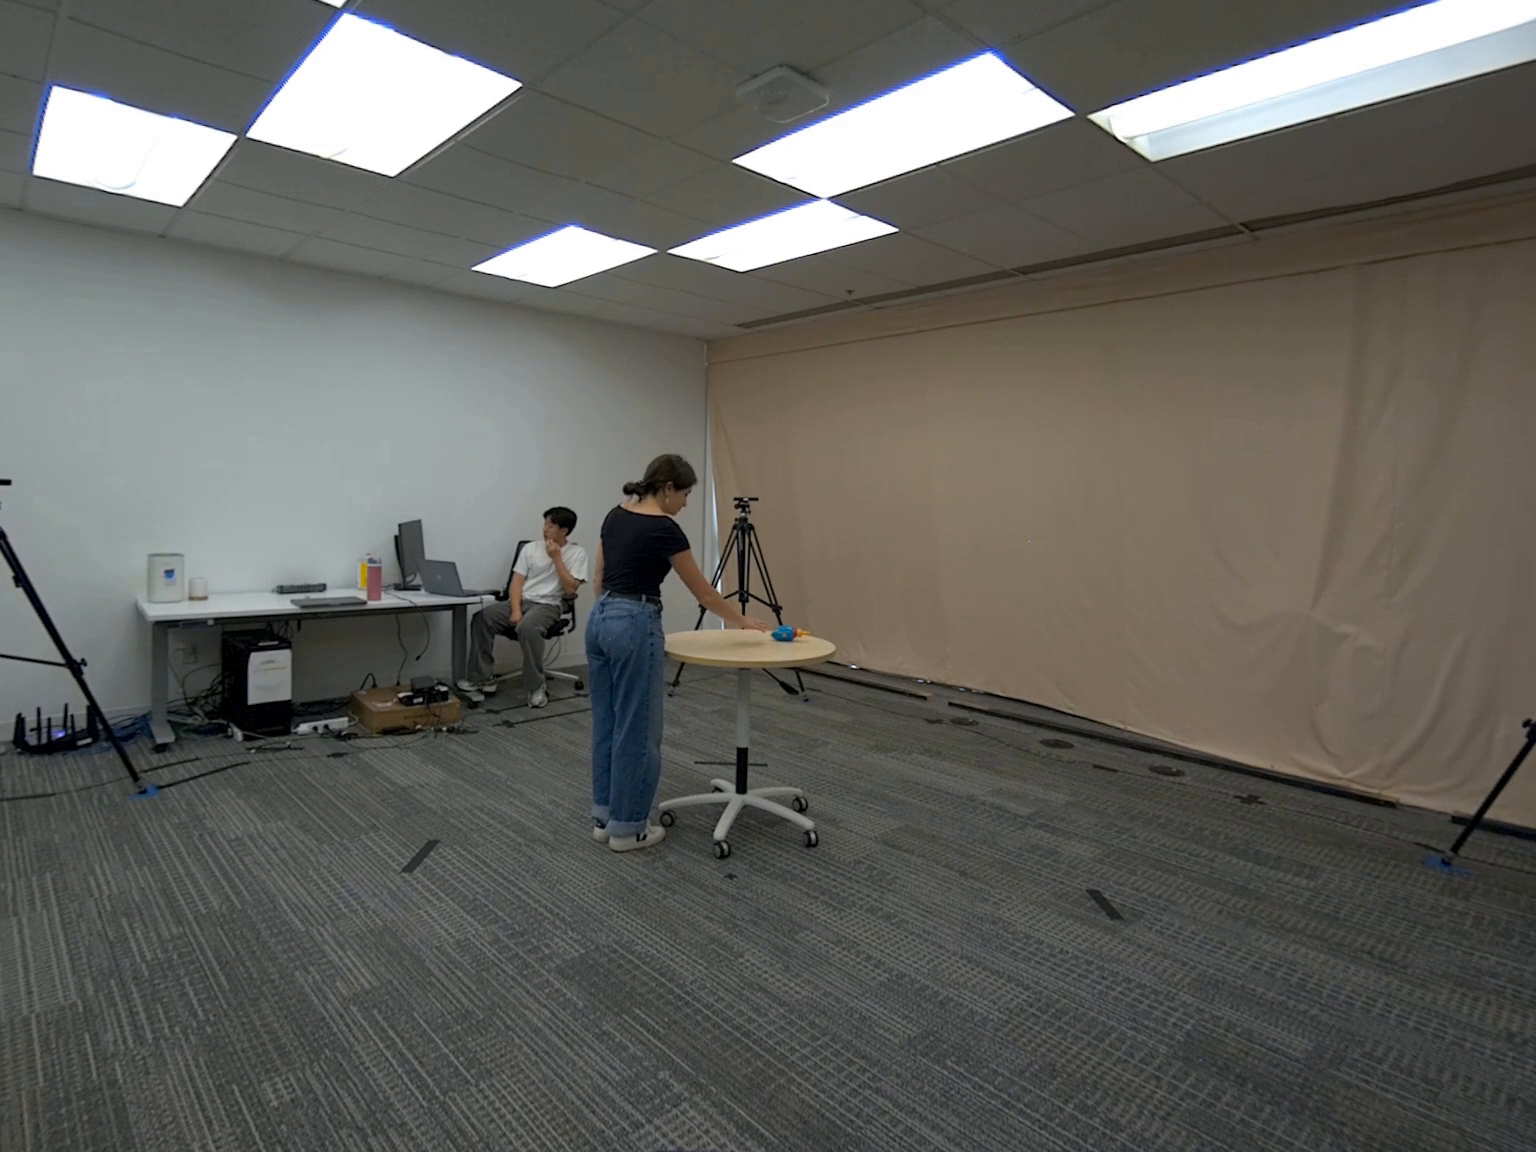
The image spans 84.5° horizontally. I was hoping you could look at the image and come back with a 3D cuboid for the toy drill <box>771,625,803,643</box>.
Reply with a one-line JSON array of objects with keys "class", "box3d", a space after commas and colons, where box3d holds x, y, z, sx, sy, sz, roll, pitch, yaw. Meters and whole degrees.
[{"class": "toy drill", "box3d": [0.093, 0.250, 3.692, 0.171, 0.061, 0.145, -4, 4, 6]}]
